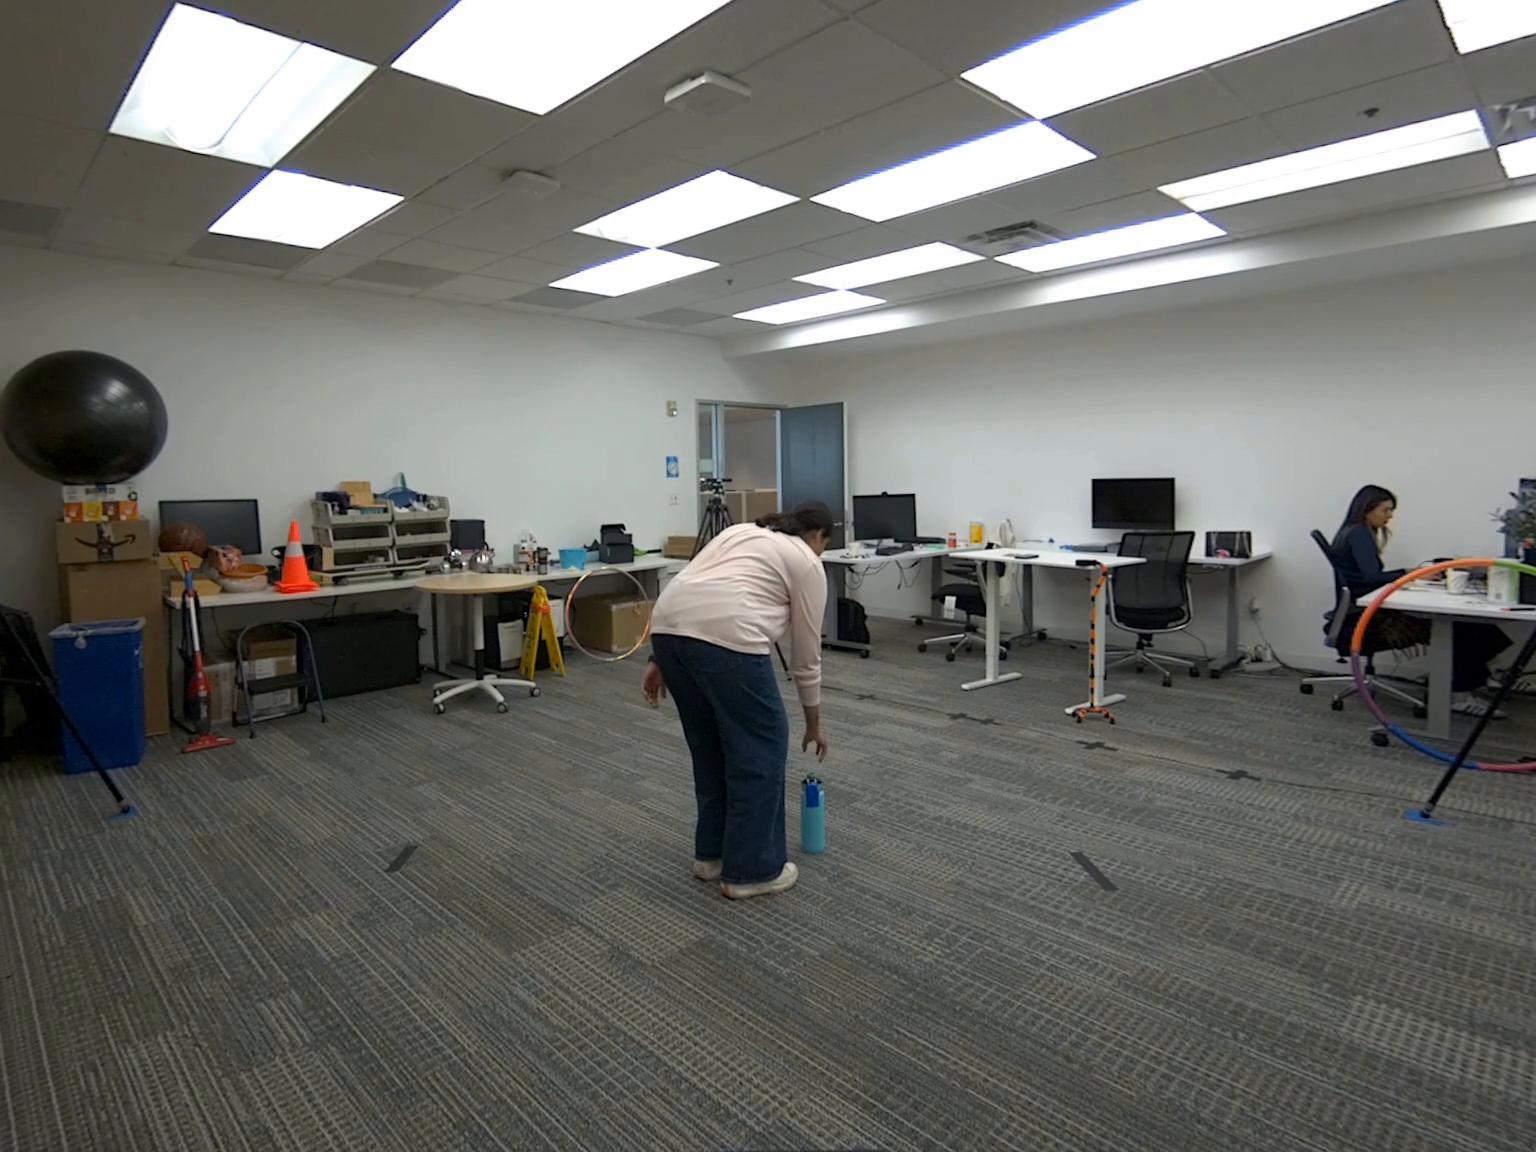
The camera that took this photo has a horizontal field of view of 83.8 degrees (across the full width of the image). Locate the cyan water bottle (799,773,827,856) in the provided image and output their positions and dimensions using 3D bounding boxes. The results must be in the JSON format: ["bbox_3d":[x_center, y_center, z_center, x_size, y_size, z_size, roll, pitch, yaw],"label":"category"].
[{"bbox_3d":[0.168,0.888,3.214,0.092,0.282,0.093,-1,4,-2],"label":"cyan water bottle"}]
